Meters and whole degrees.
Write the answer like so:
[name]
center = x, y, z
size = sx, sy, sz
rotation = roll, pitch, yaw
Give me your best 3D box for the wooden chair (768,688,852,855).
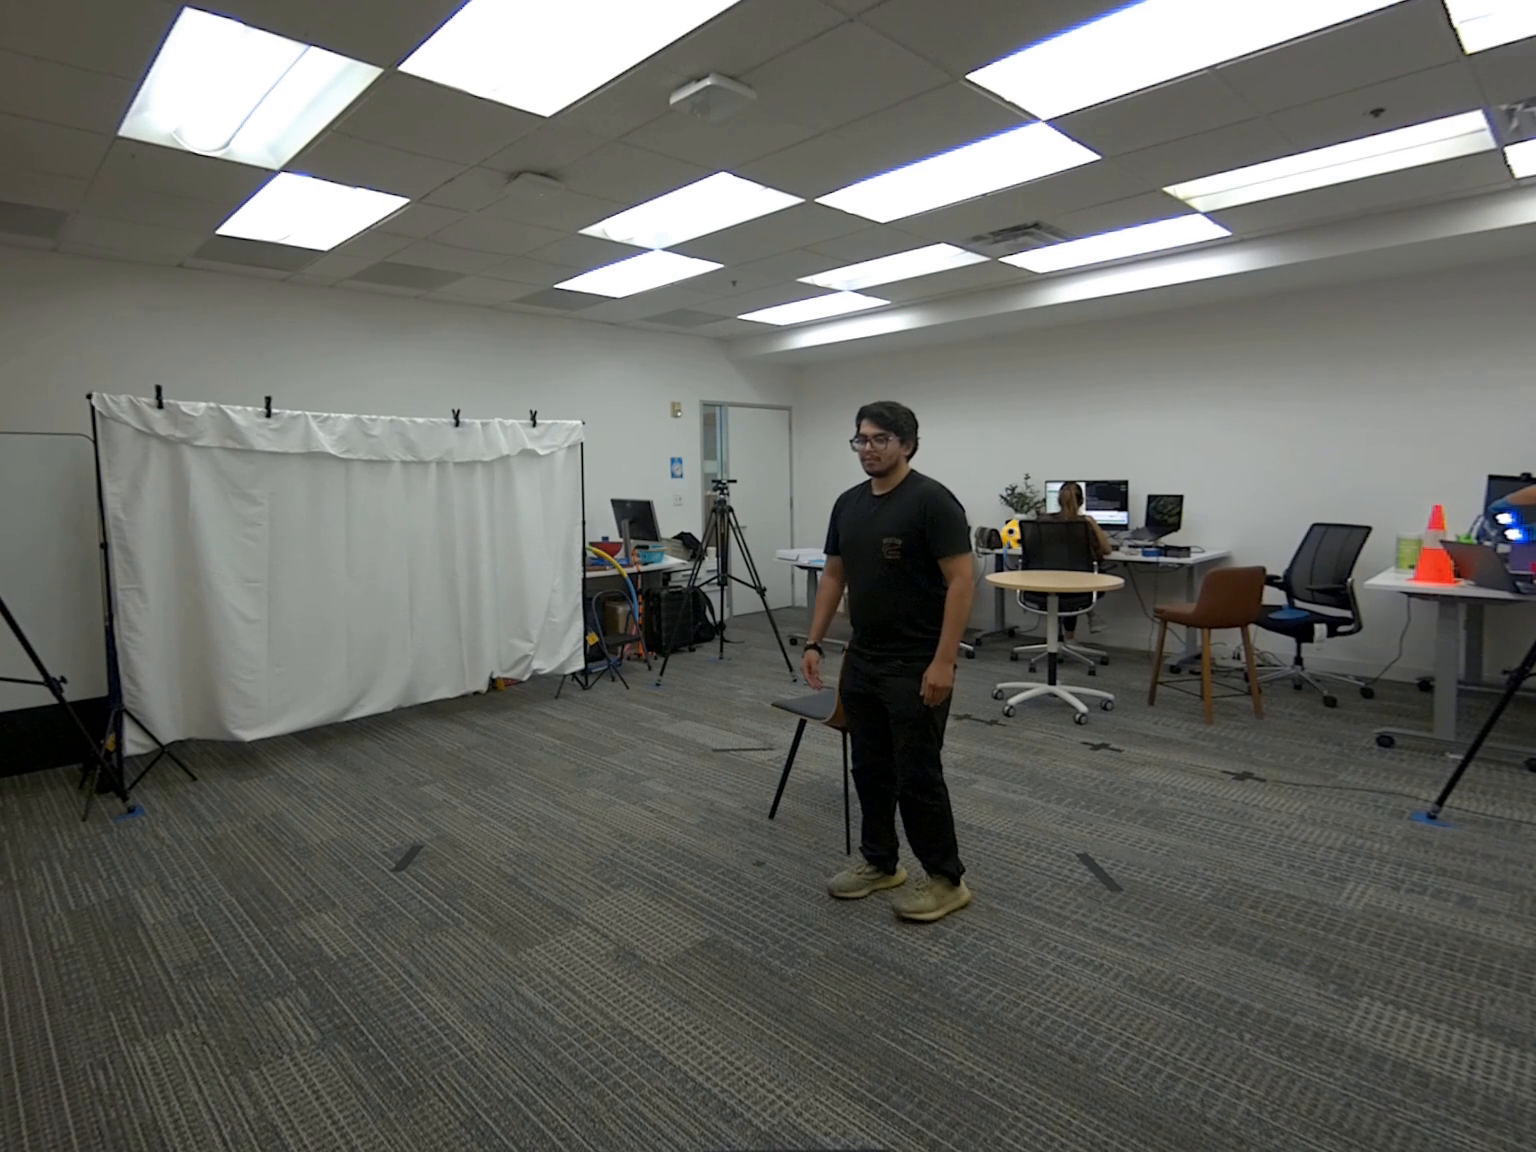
[wooden chair]
center = 0.311, 0.575, 3.454
size = 0.465, 0.872, 0.540
rotation = -4, 9, -40
